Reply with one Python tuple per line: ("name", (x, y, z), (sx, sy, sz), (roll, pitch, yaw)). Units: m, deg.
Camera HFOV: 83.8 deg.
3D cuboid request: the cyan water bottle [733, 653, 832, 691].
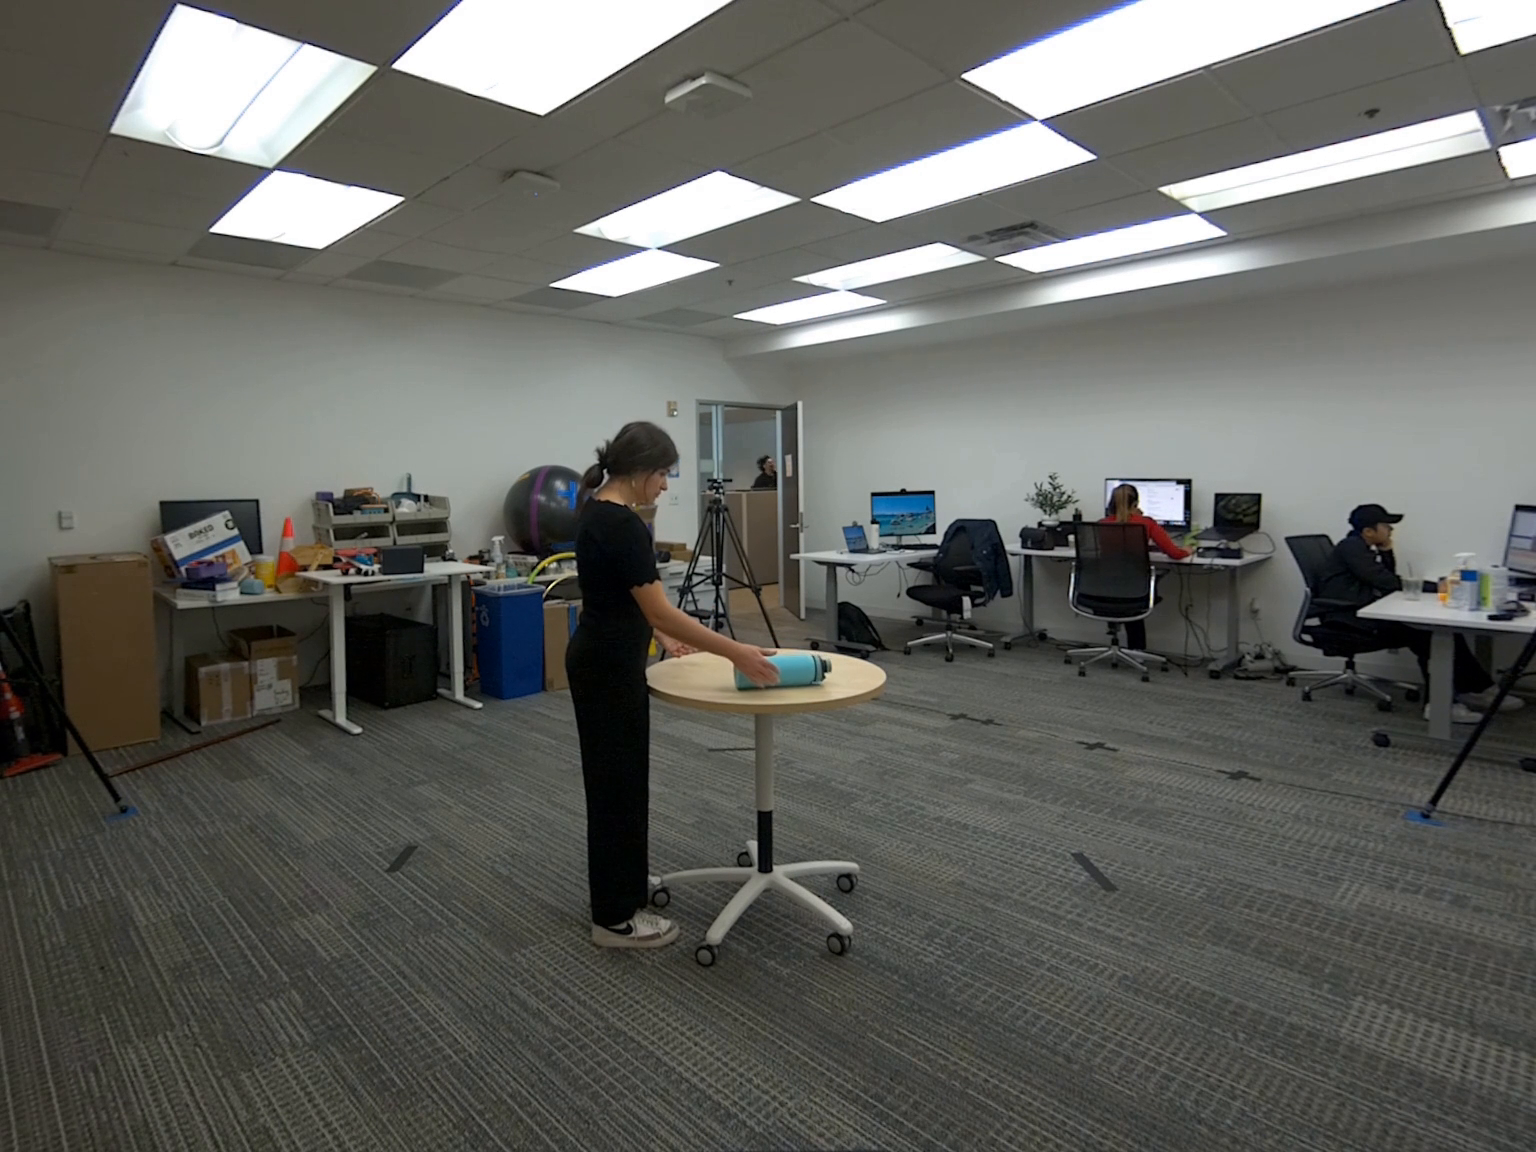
("cyan water bottle", (0.046, 0.279, 2.524), (0.280, 0.092, 0.093), (-3, 5, -11))
